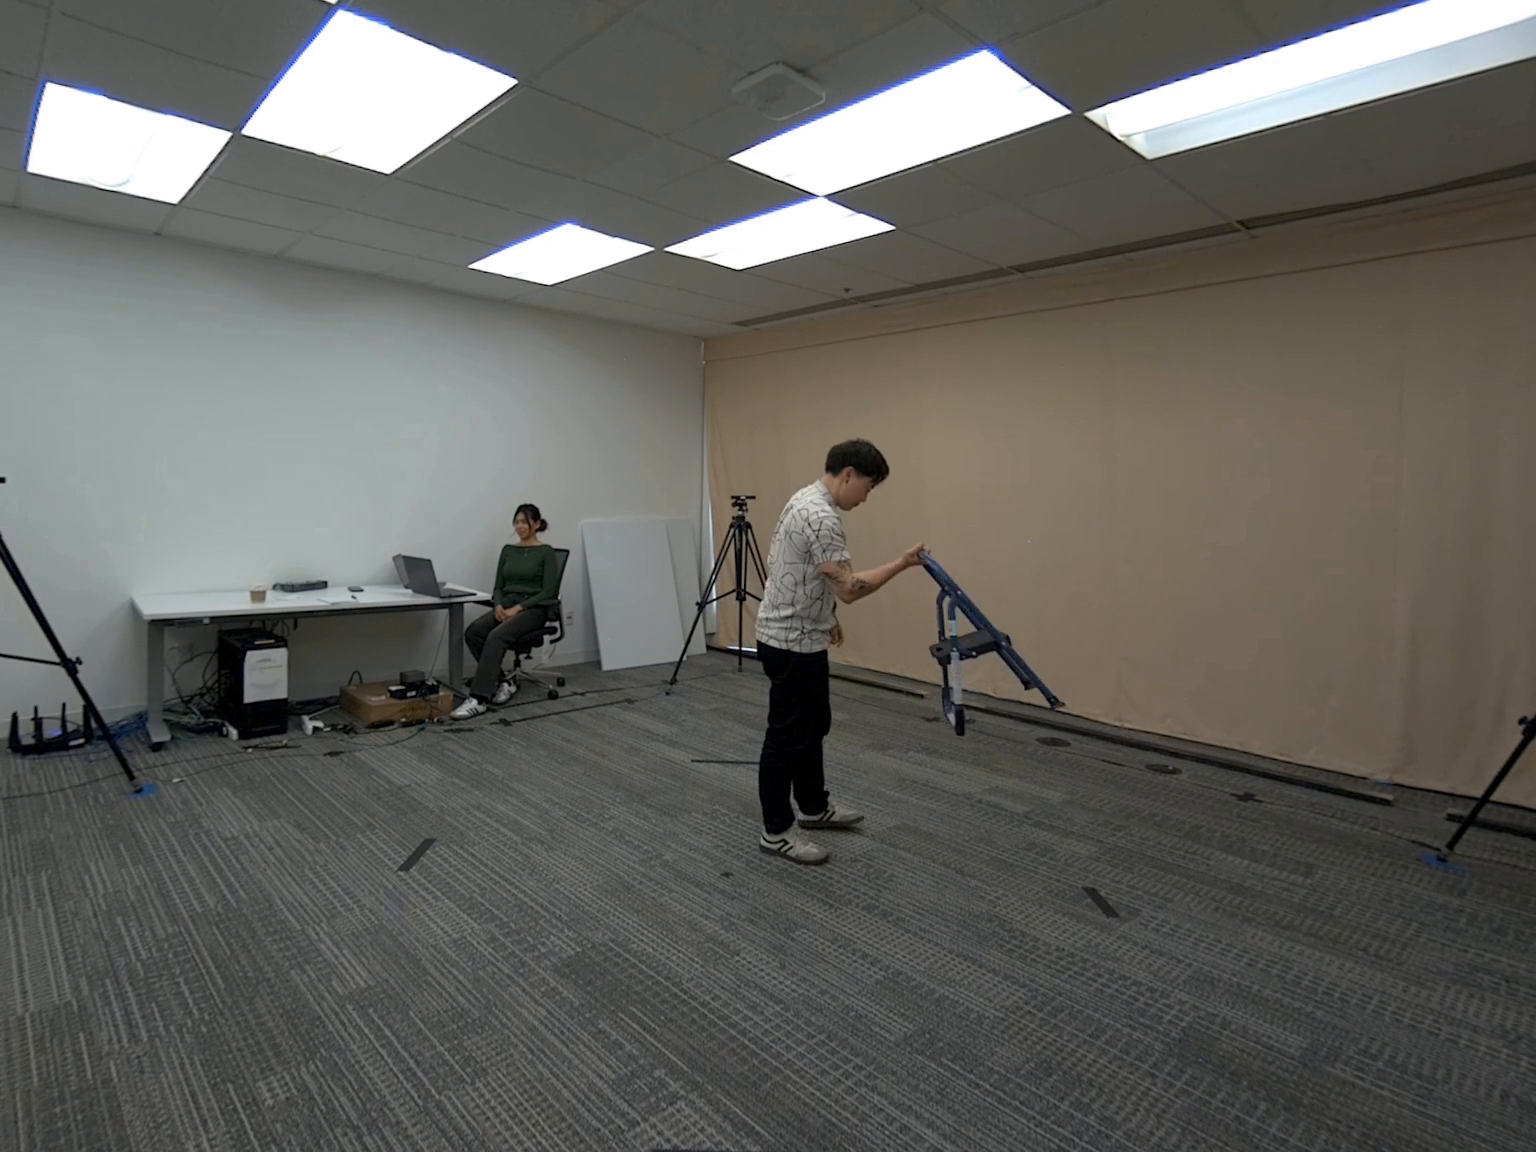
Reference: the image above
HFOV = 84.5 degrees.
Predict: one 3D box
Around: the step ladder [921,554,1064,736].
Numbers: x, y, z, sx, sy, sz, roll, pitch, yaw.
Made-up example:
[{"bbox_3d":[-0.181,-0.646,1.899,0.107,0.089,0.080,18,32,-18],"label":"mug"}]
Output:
[{"bbox_3d":[0.672,0.183,2.918,0.350,0.608,0.428,-18,-3,5],"label":"step ladder"}]
